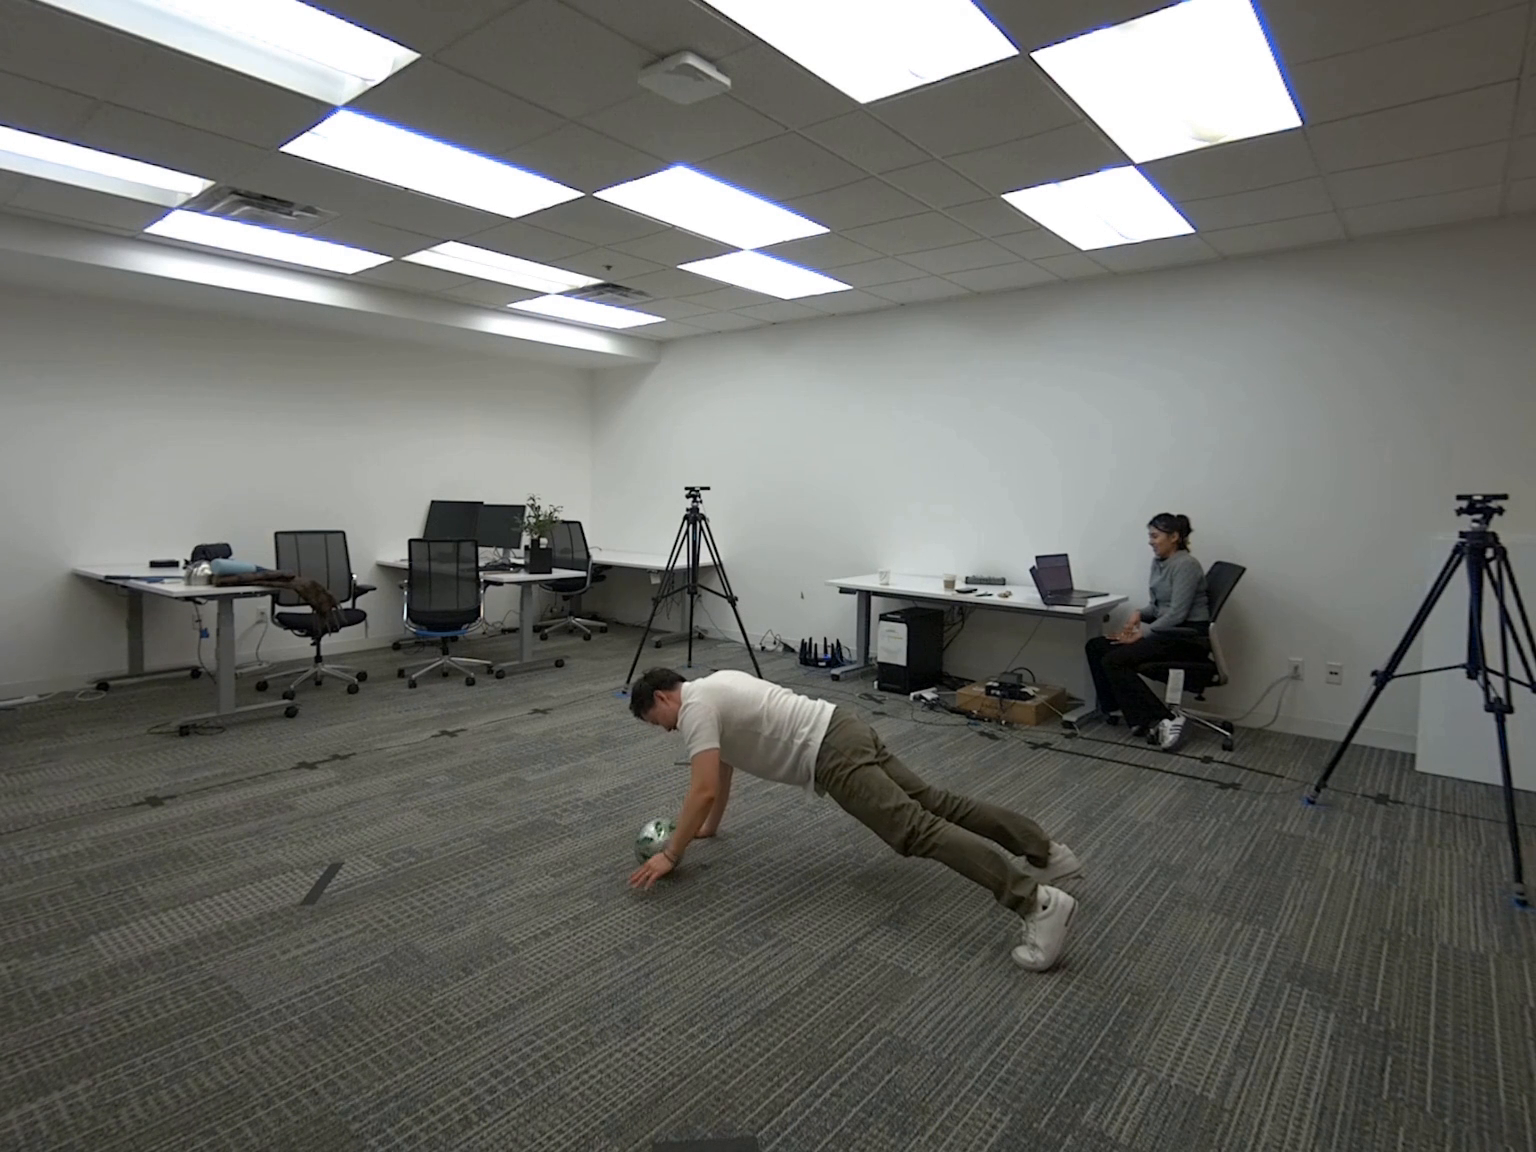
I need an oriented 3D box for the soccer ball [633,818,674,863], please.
[{"bbox_3d":[-0.398,0.969,3.078,0.187,0.187,0.188,1,4,-2],"label":"soccer ball"}]
